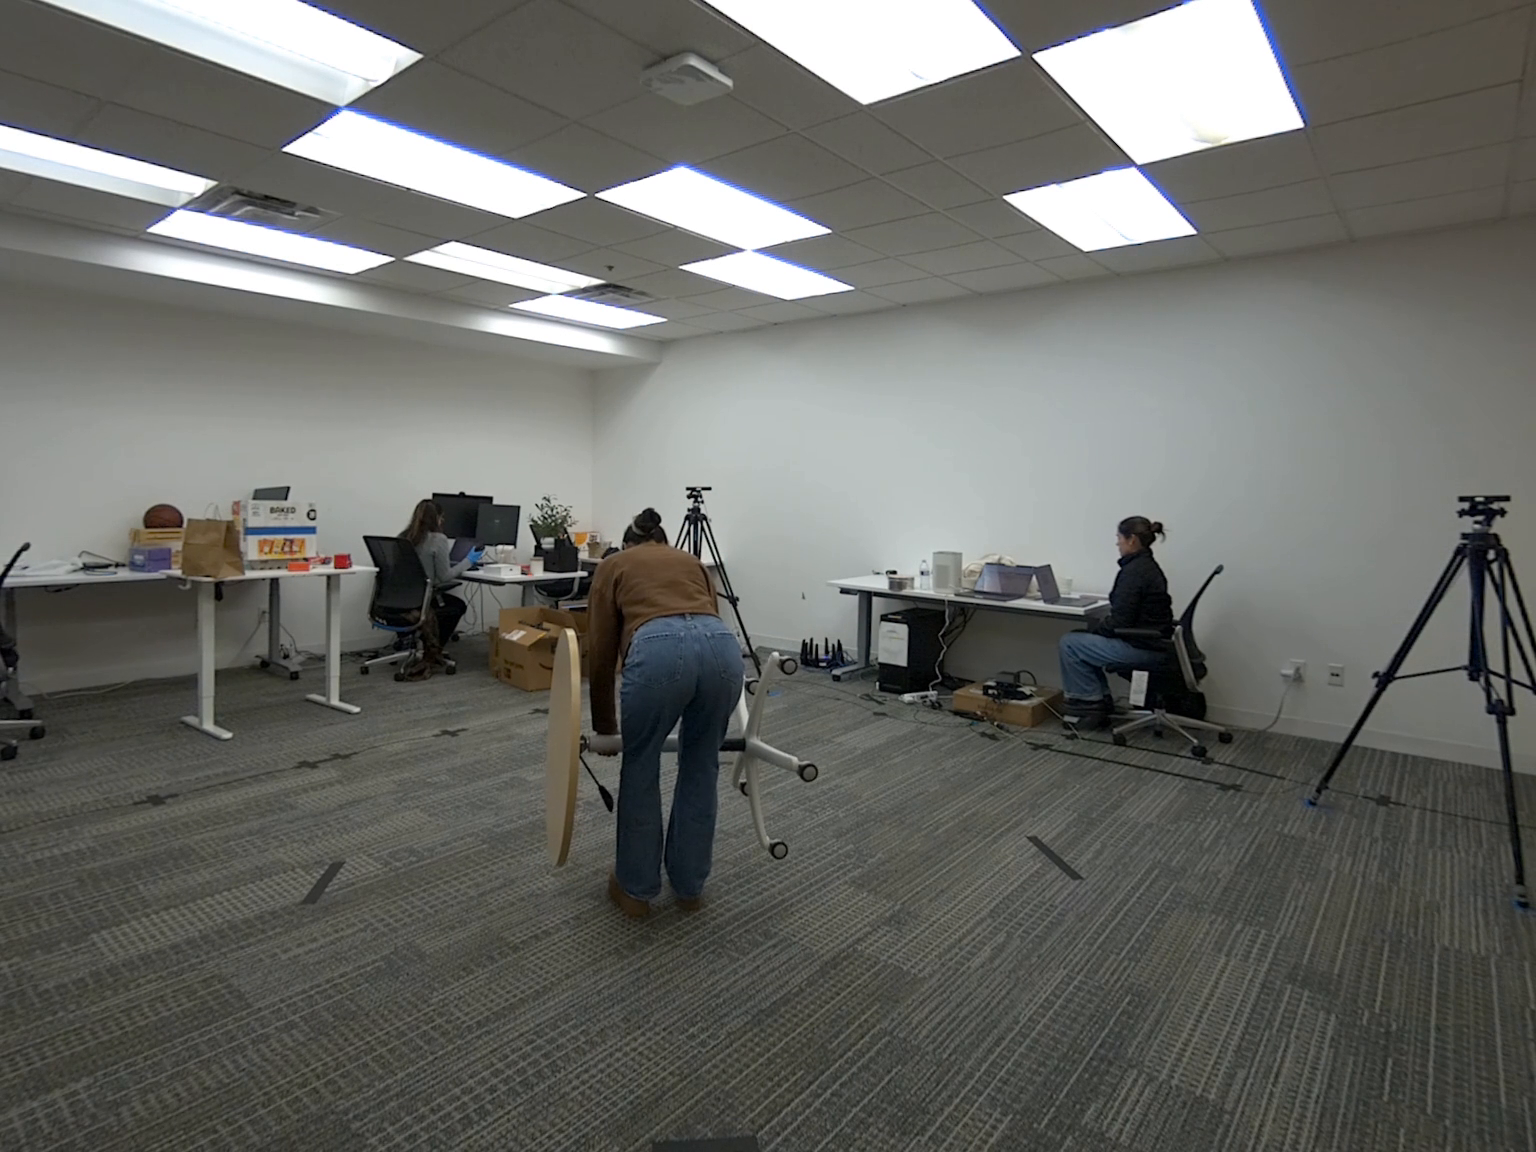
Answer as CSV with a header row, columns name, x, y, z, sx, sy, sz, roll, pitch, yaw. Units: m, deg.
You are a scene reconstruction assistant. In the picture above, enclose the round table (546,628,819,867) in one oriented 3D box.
name,x,y,z,sx,sy,sz,roll,pitch,yaw
round table,-0.335,0.595,2.947,0.779,0.763,0.780,5,3,-18
